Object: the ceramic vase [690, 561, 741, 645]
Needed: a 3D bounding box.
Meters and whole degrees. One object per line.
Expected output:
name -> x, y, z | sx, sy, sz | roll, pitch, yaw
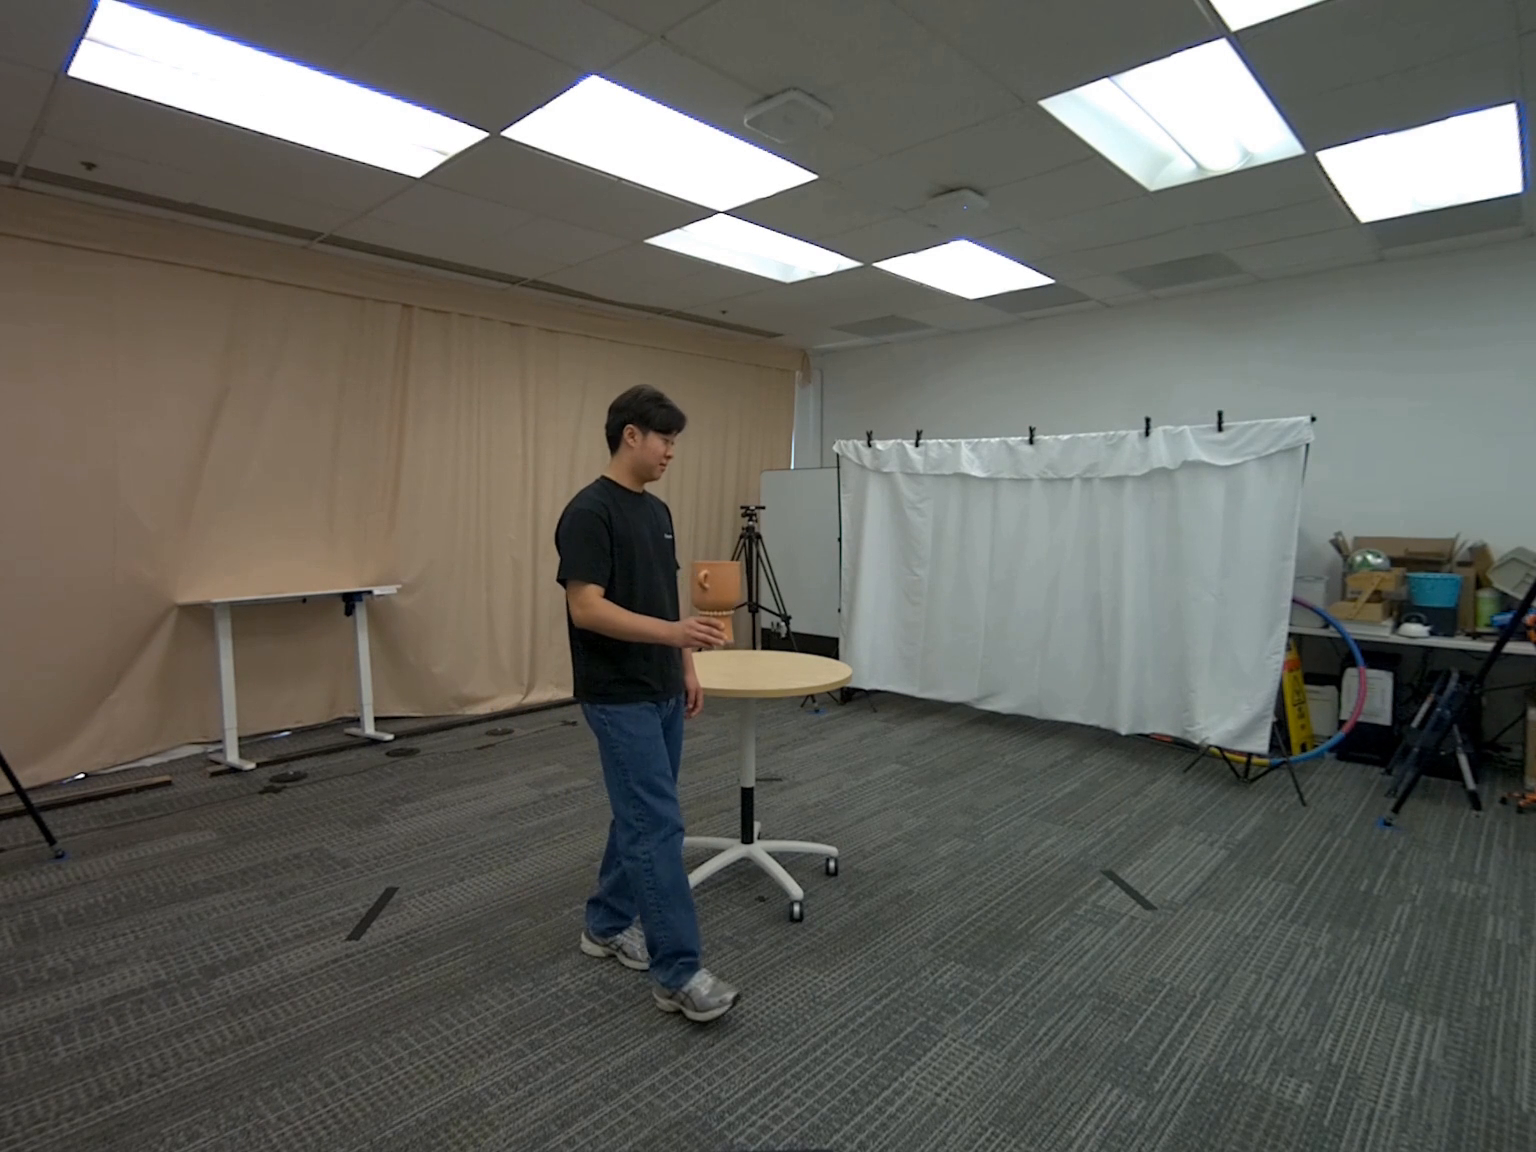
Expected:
ceramic vase -> -0.139, 0.071, 2.256 | 0.155, 0.220, 0.138 | -1, -1, -29
